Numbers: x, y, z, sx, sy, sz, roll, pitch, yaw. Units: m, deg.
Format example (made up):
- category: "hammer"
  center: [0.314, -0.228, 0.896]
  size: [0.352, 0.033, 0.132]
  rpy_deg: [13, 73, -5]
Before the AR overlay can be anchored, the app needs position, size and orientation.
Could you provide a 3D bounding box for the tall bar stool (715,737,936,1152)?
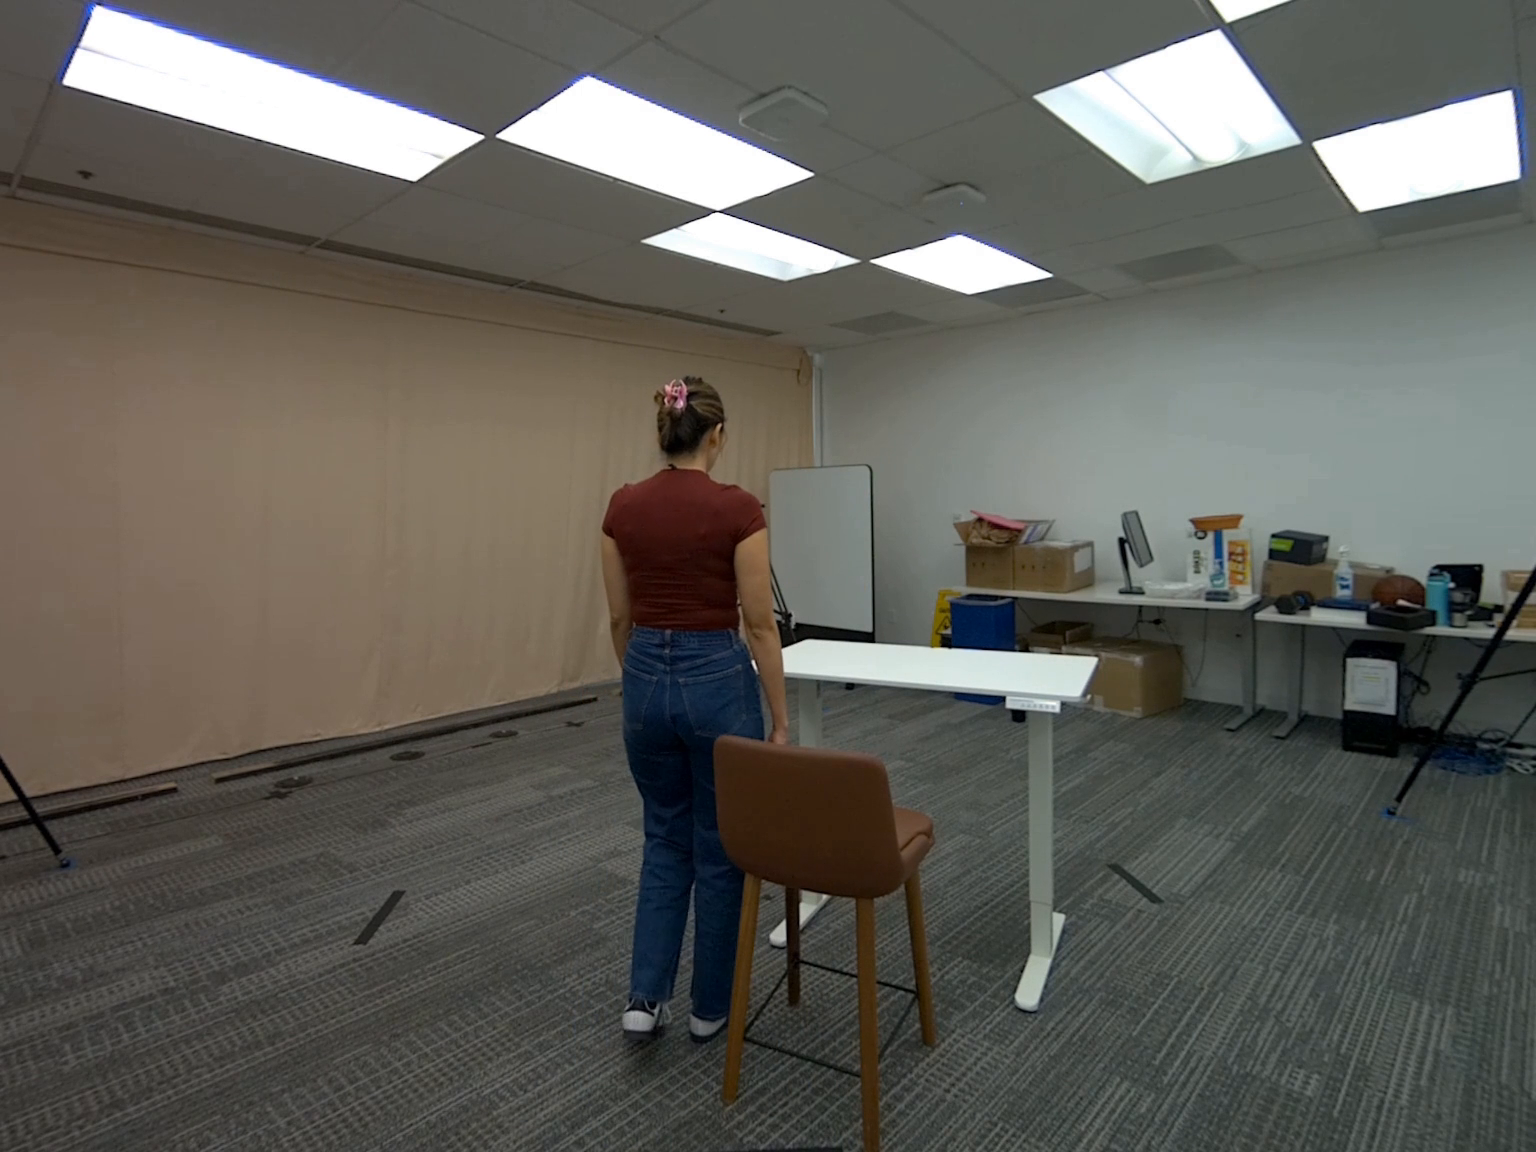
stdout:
- category: "tall bar stool"
  center: [0.156, 0.784, 2.043]
  size: [0.469, 0.887, 0.456]
  rpy_deg: [2, 5, 27]
